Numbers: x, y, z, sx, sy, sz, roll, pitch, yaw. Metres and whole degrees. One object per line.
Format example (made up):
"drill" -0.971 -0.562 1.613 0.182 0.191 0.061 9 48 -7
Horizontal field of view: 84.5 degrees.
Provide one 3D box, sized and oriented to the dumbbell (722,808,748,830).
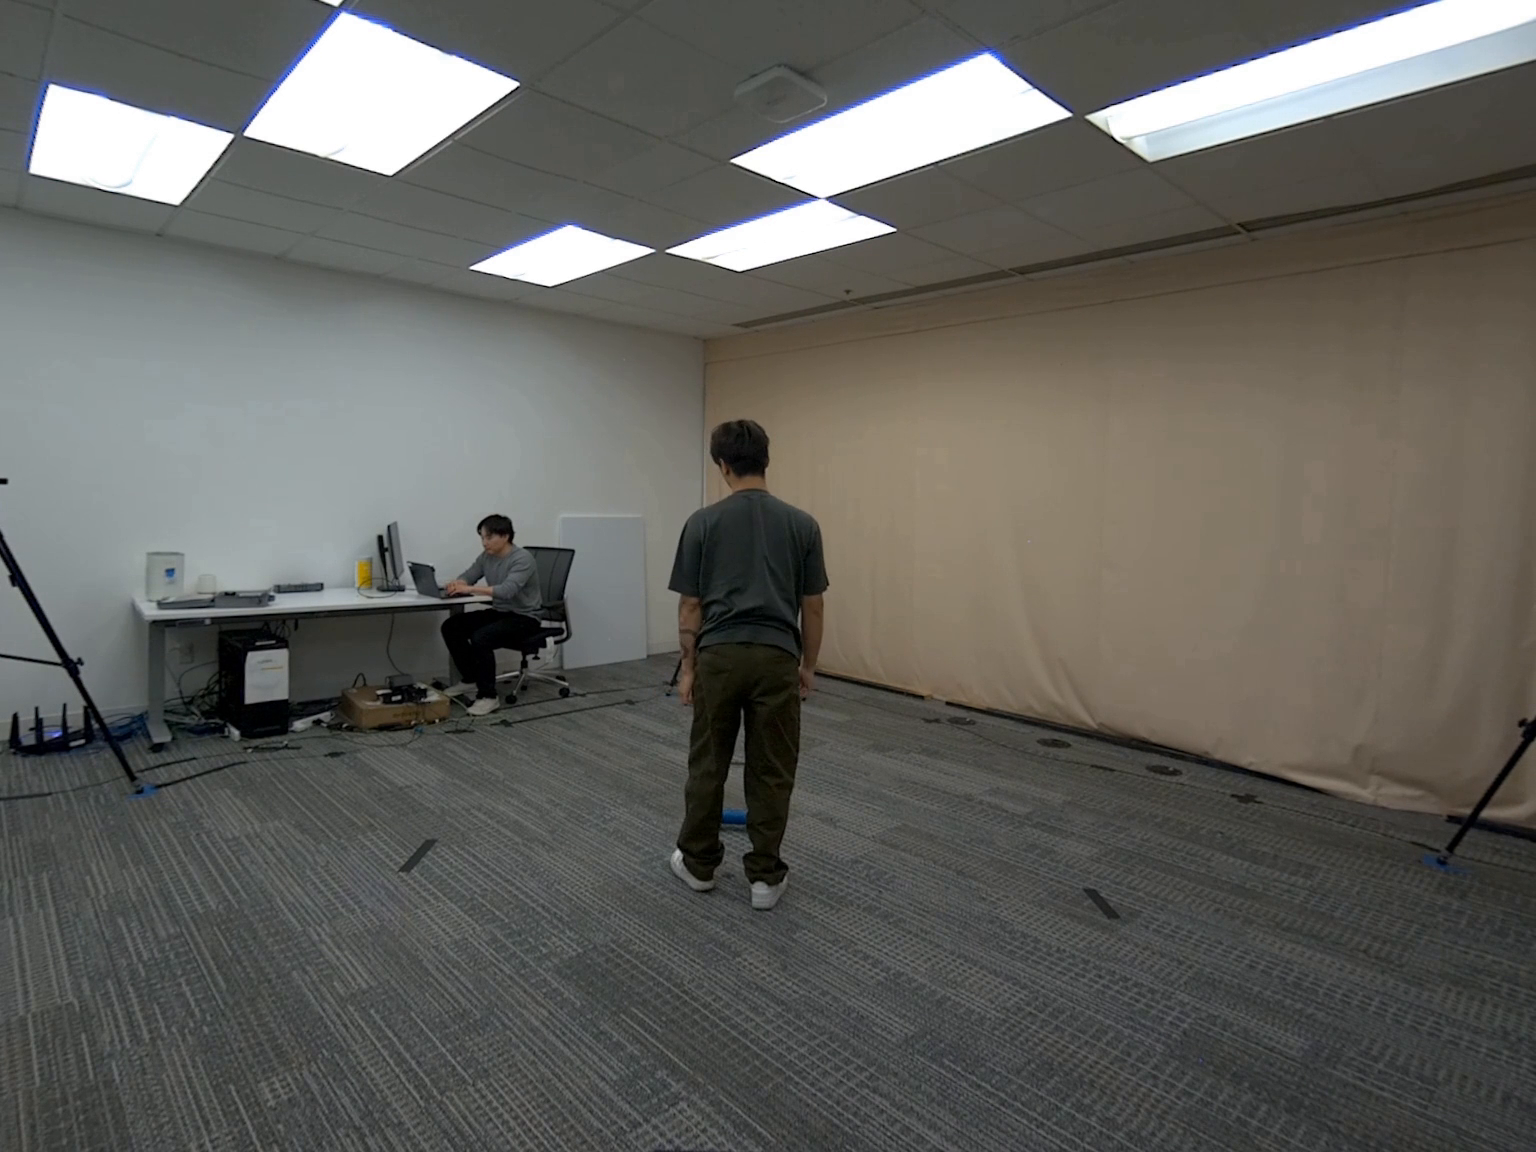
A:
"dumbbell" -0.153 1.022 3.540 0.294 0.125 0.106 2 -26 4
